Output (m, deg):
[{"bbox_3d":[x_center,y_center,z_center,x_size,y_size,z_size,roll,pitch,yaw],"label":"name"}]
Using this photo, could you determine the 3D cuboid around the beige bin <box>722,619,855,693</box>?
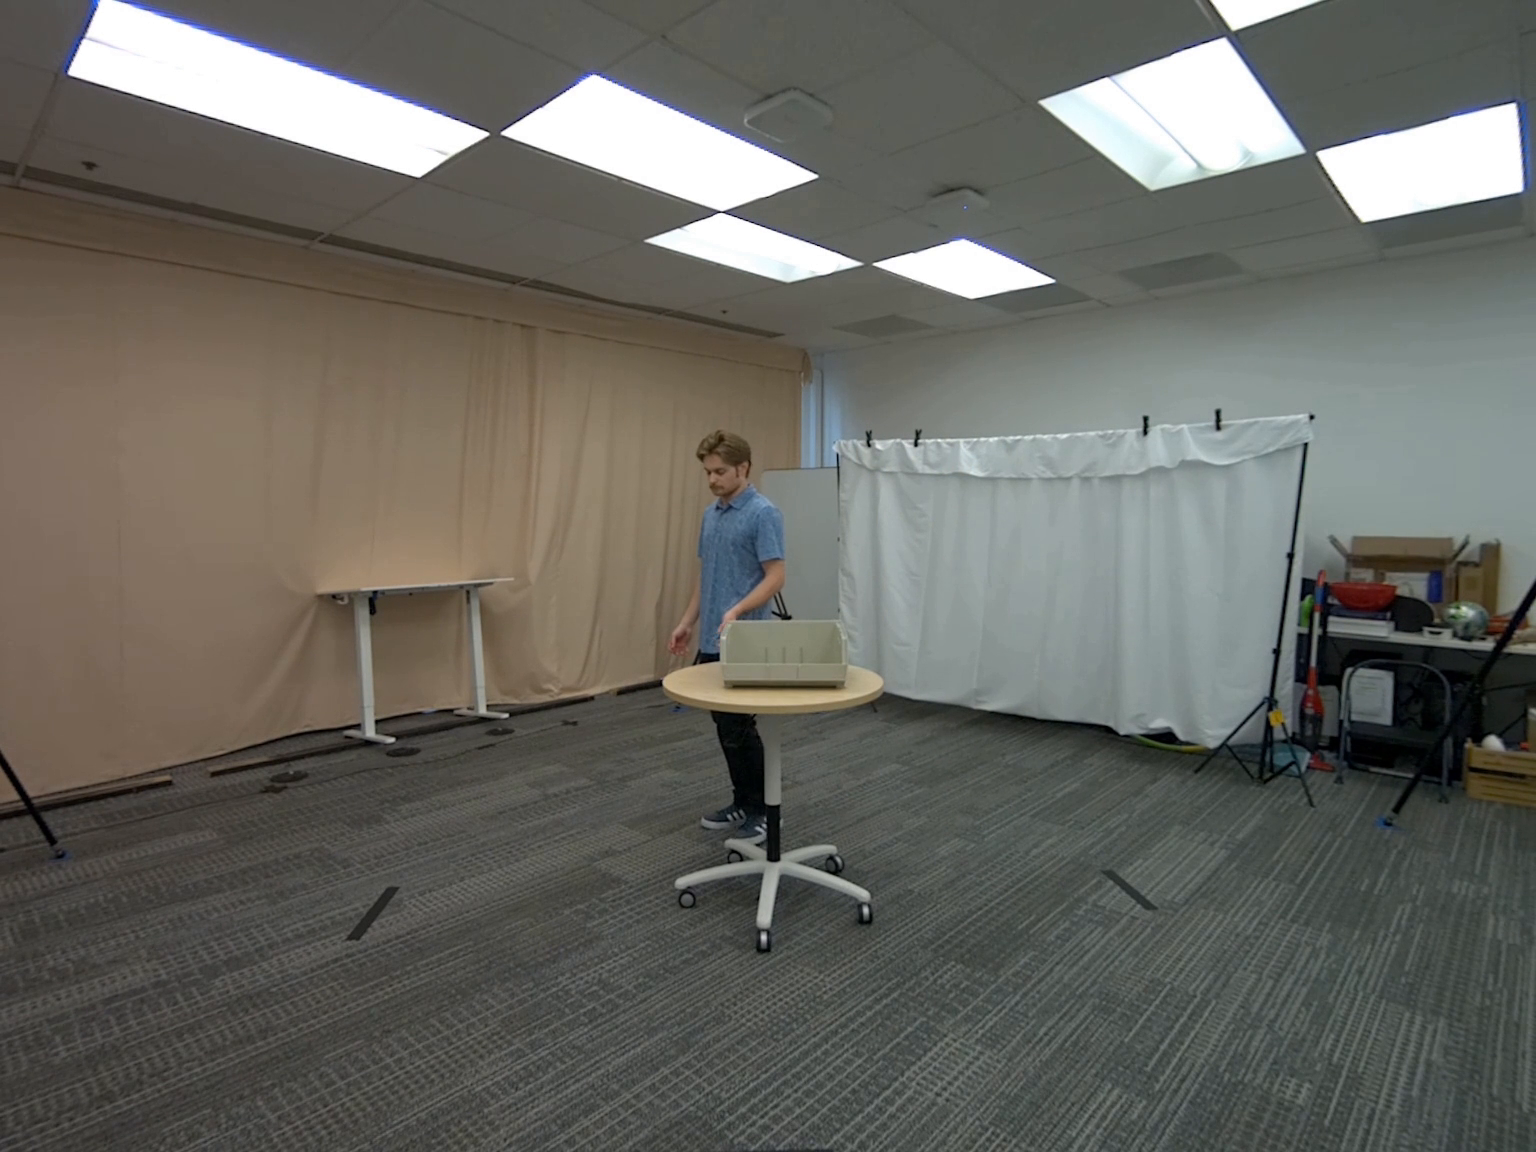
[{"bbox_3d":[0.067,0.267,2.928,0.424,0.188,0.376,0,4,3],"label":"beige bin"}]
